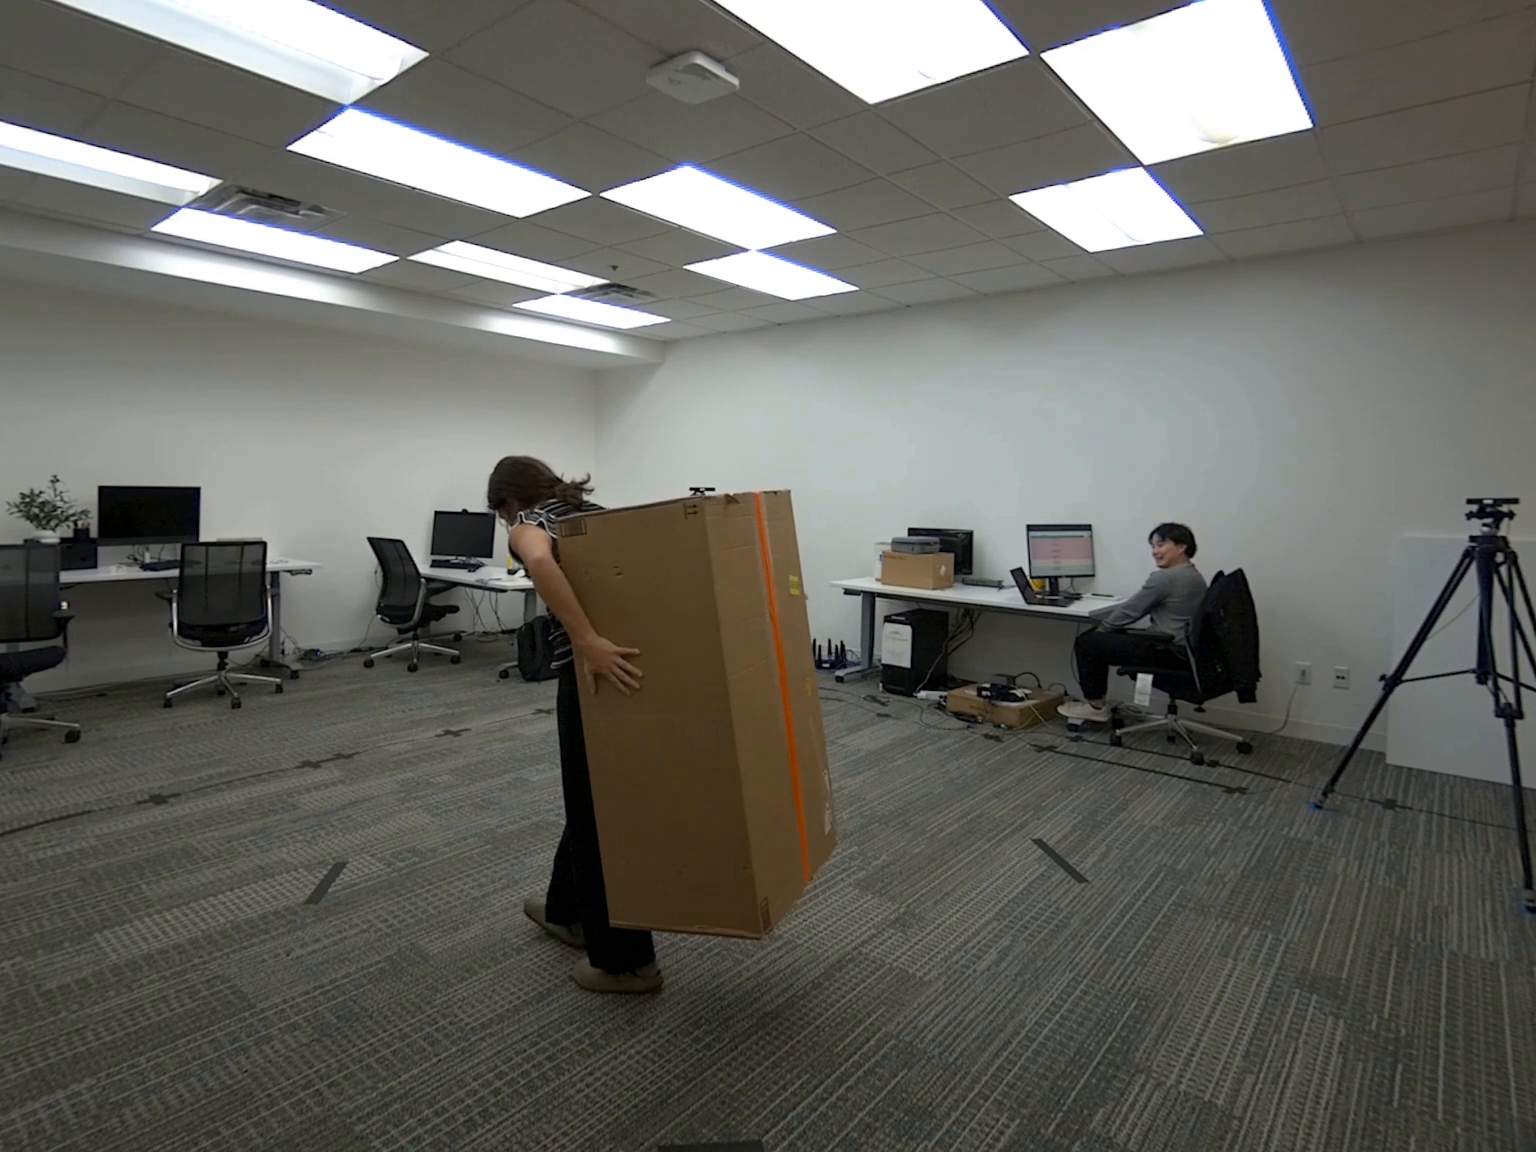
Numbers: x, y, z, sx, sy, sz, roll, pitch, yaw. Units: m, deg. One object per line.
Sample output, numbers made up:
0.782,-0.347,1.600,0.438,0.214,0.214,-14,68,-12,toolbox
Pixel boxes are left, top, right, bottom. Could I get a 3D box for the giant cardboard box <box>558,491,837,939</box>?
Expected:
-0.166,0.313,2.268,0.435,1.025,0.566,-8,1,23,giant cardboard box
